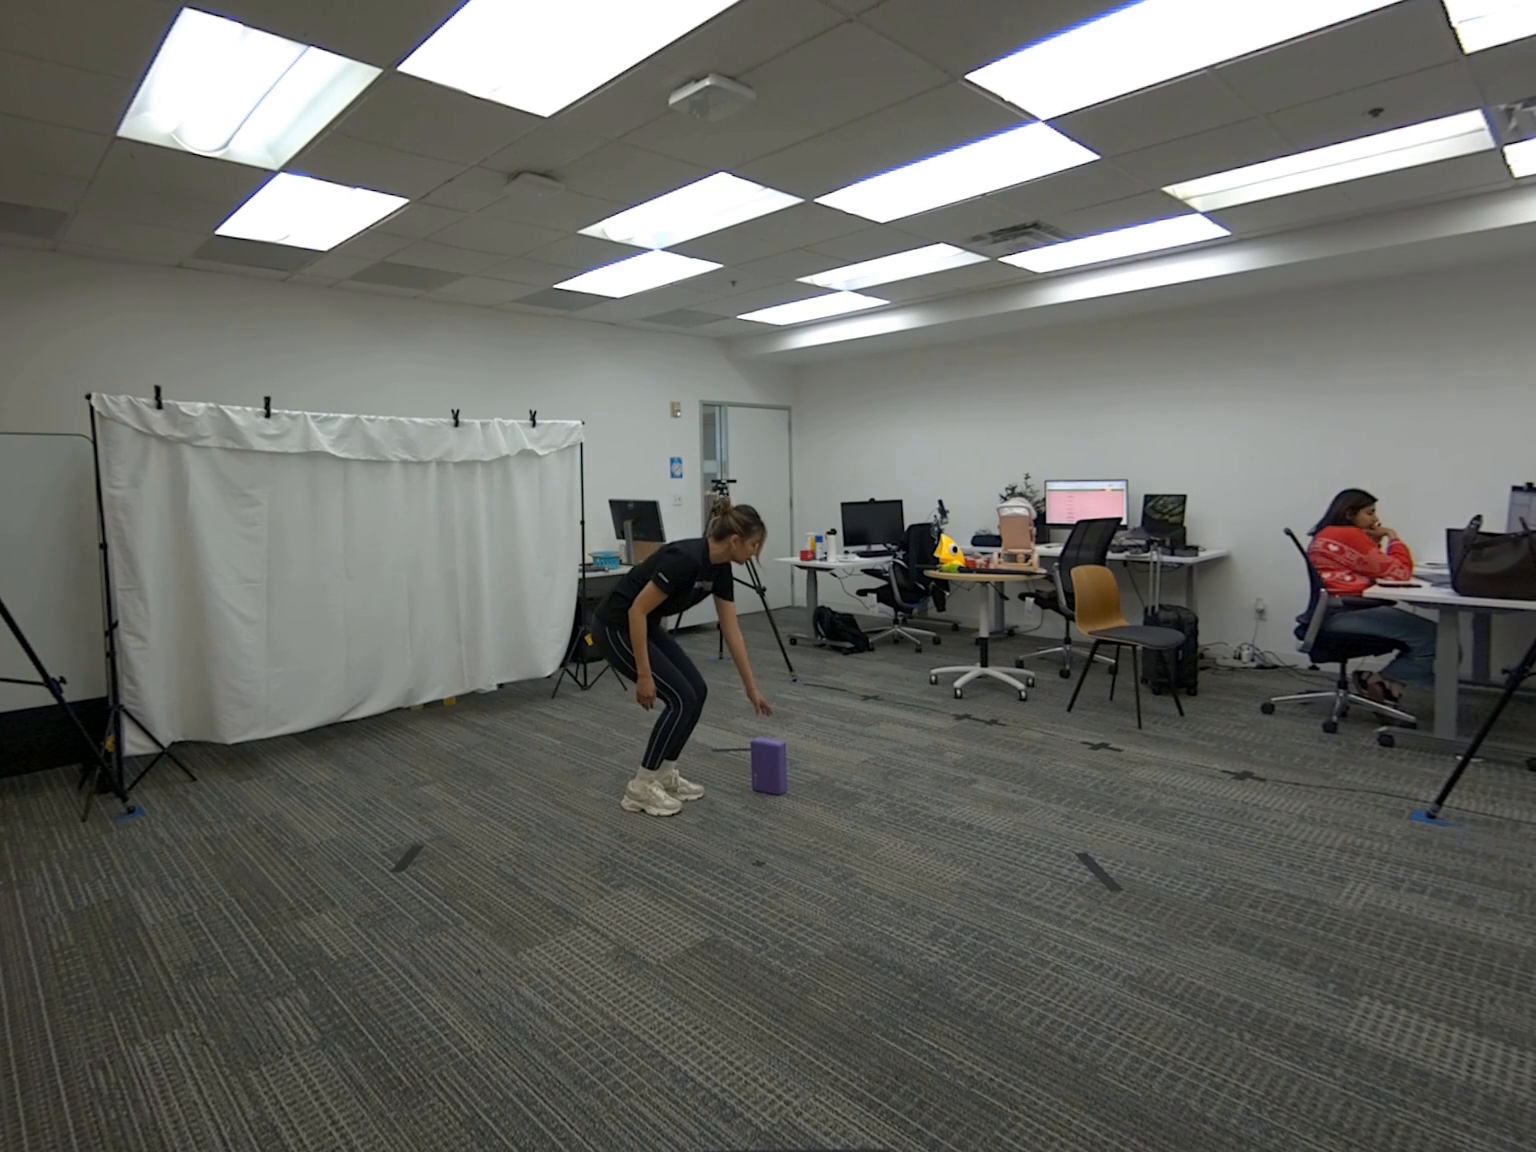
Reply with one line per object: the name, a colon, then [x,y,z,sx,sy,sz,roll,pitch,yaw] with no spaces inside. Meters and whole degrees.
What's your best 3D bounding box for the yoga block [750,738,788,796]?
yoga block: [0.001,0.843,3.816,0.153,0.228,0.075,3,6,31]
